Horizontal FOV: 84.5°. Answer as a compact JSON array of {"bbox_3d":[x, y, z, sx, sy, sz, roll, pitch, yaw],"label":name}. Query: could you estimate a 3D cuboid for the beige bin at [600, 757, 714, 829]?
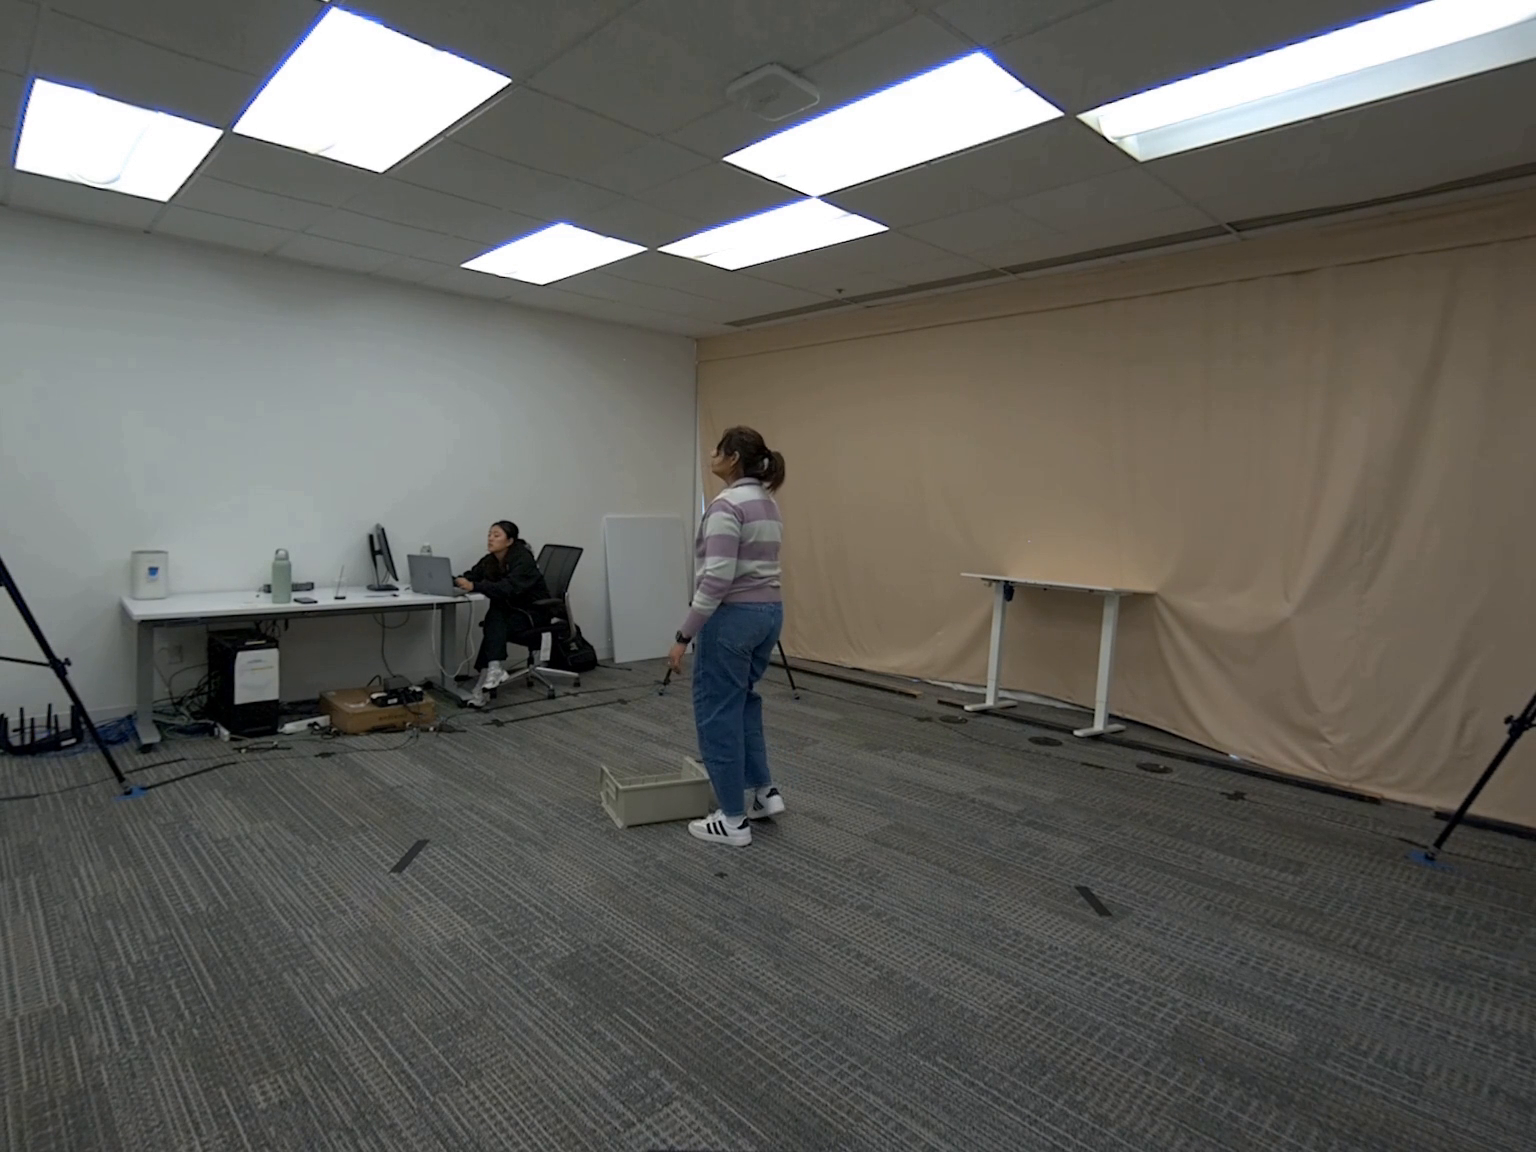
[{"bbox_3d":[-0.515,0.950,3.750,0.415,0.188,0.385,0,6,-24],"label":"beige bin"}]
